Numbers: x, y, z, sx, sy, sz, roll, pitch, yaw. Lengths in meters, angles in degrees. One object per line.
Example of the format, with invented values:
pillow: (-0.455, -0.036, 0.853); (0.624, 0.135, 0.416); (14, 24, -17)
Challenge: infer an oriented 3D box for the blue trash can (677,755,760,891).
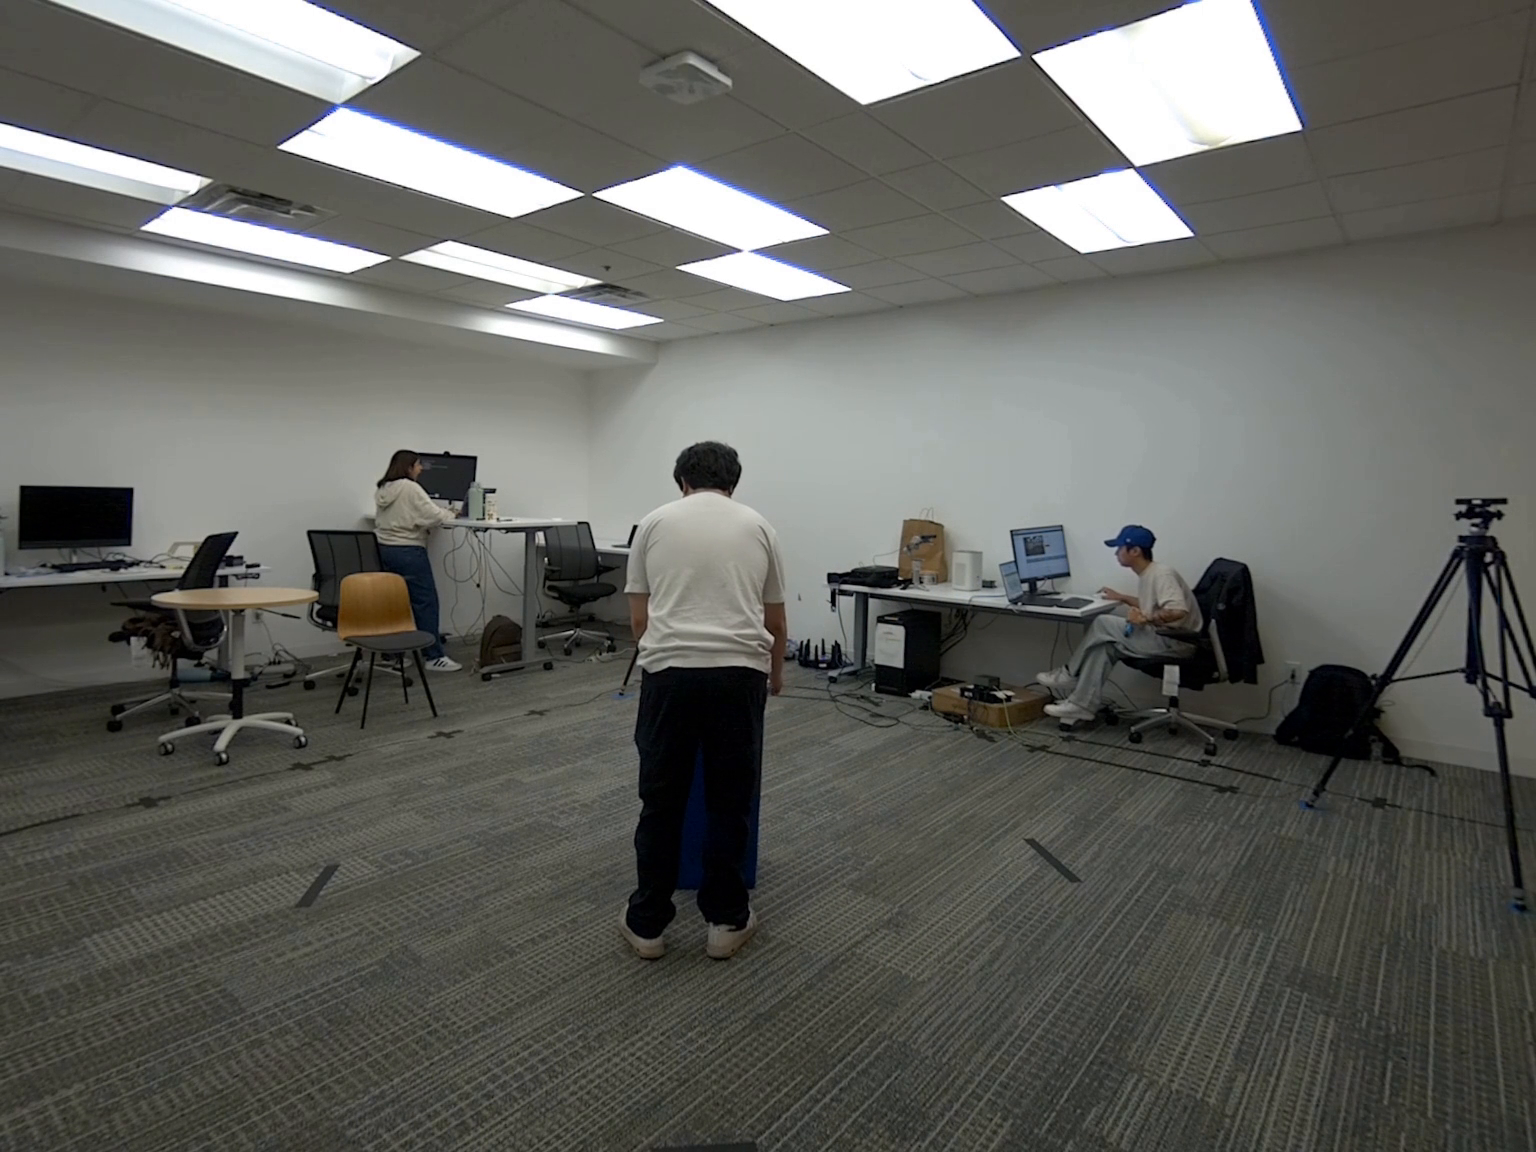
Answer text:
blue trash can: (-0.210, 0.713, 3.085); (0.376, 0.711, 0.377); (1, 4, -5)
